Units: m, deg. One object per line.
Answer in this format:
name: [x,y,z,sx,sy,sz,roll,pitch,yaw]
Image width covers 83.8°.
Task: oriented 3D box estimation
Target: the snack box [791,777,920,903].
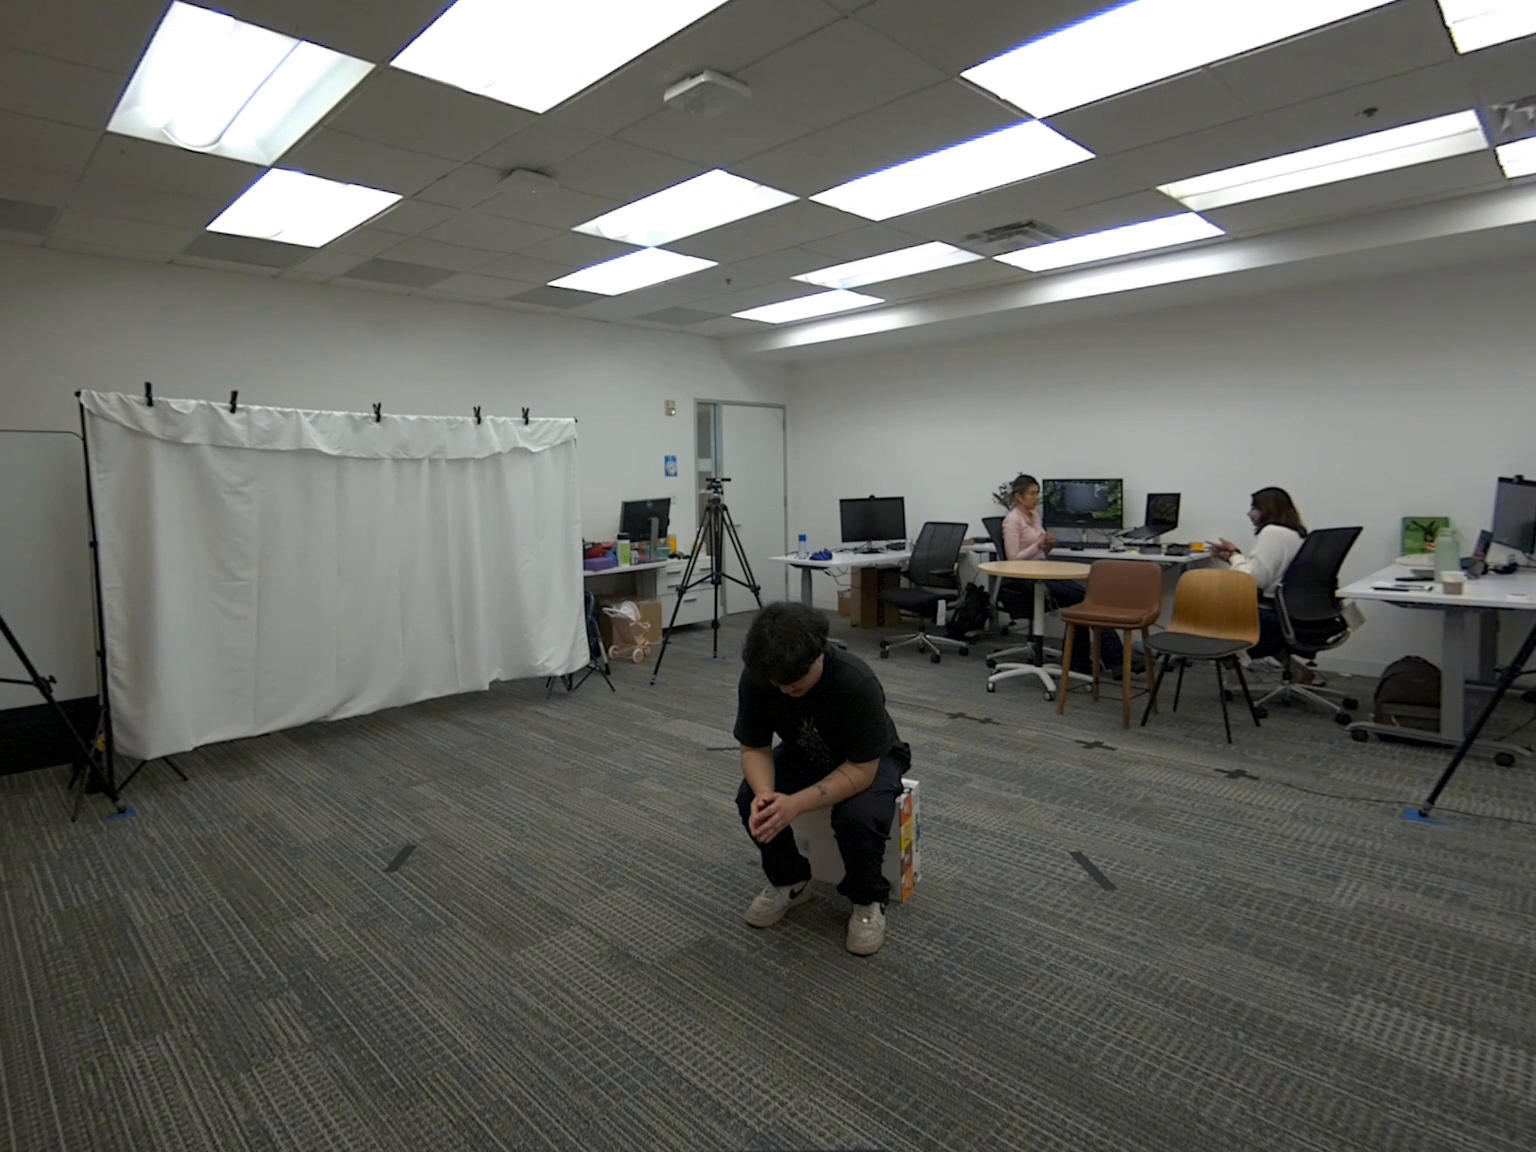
snack box: [0.308,0.883,2.978,0.416,0.339,0.201,1,4,30]
